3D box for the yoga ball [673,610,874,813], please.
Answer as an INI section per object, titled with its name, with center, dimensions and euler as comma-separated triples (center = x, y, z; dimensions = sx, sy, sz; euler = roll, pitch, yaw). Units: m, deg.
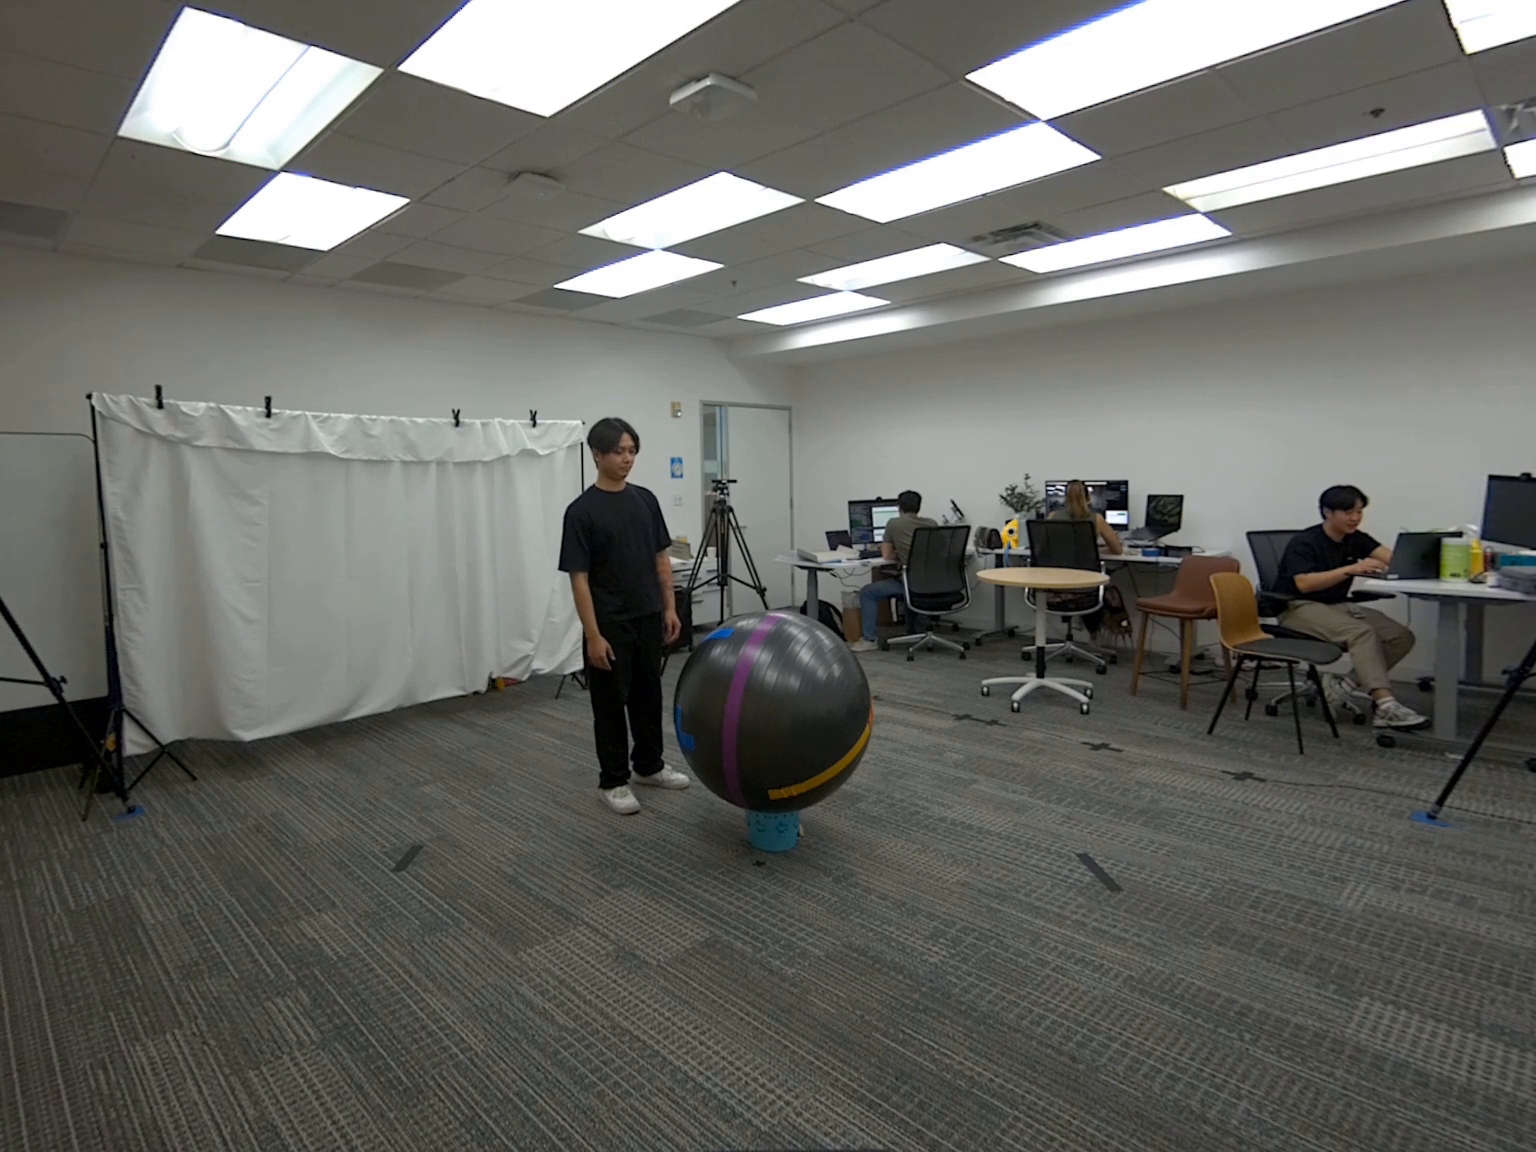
[yoga ball]
center = 0.022, 0.517, 3.281
dimensions = 0.757, 0.755, 0.762
euler = -1, 5, -2
